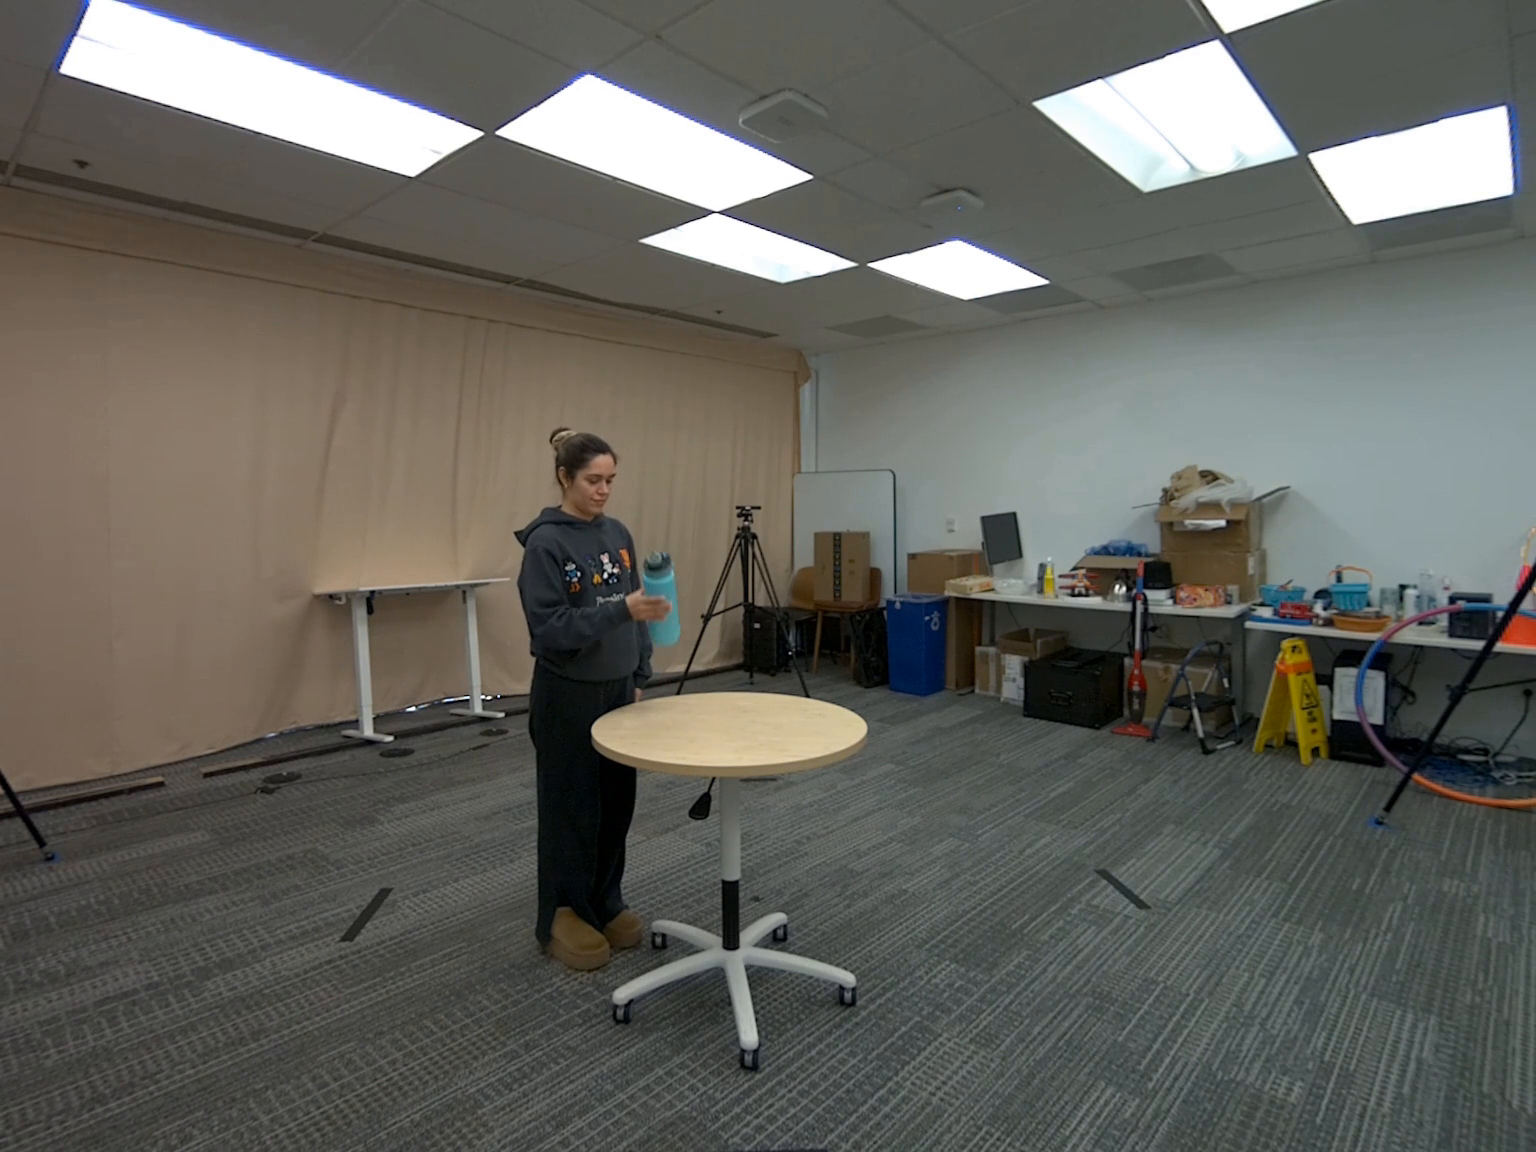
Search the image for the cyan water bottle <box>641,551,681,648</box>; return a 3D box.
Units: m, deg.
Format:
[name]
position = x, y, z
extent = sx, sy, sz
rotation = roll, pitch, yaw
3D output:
[cyan water bottle]
position = -0.309, 0.076, 2.391
extent = 0.092, 0.279, 0.094
rotation = -1, 30, -1
